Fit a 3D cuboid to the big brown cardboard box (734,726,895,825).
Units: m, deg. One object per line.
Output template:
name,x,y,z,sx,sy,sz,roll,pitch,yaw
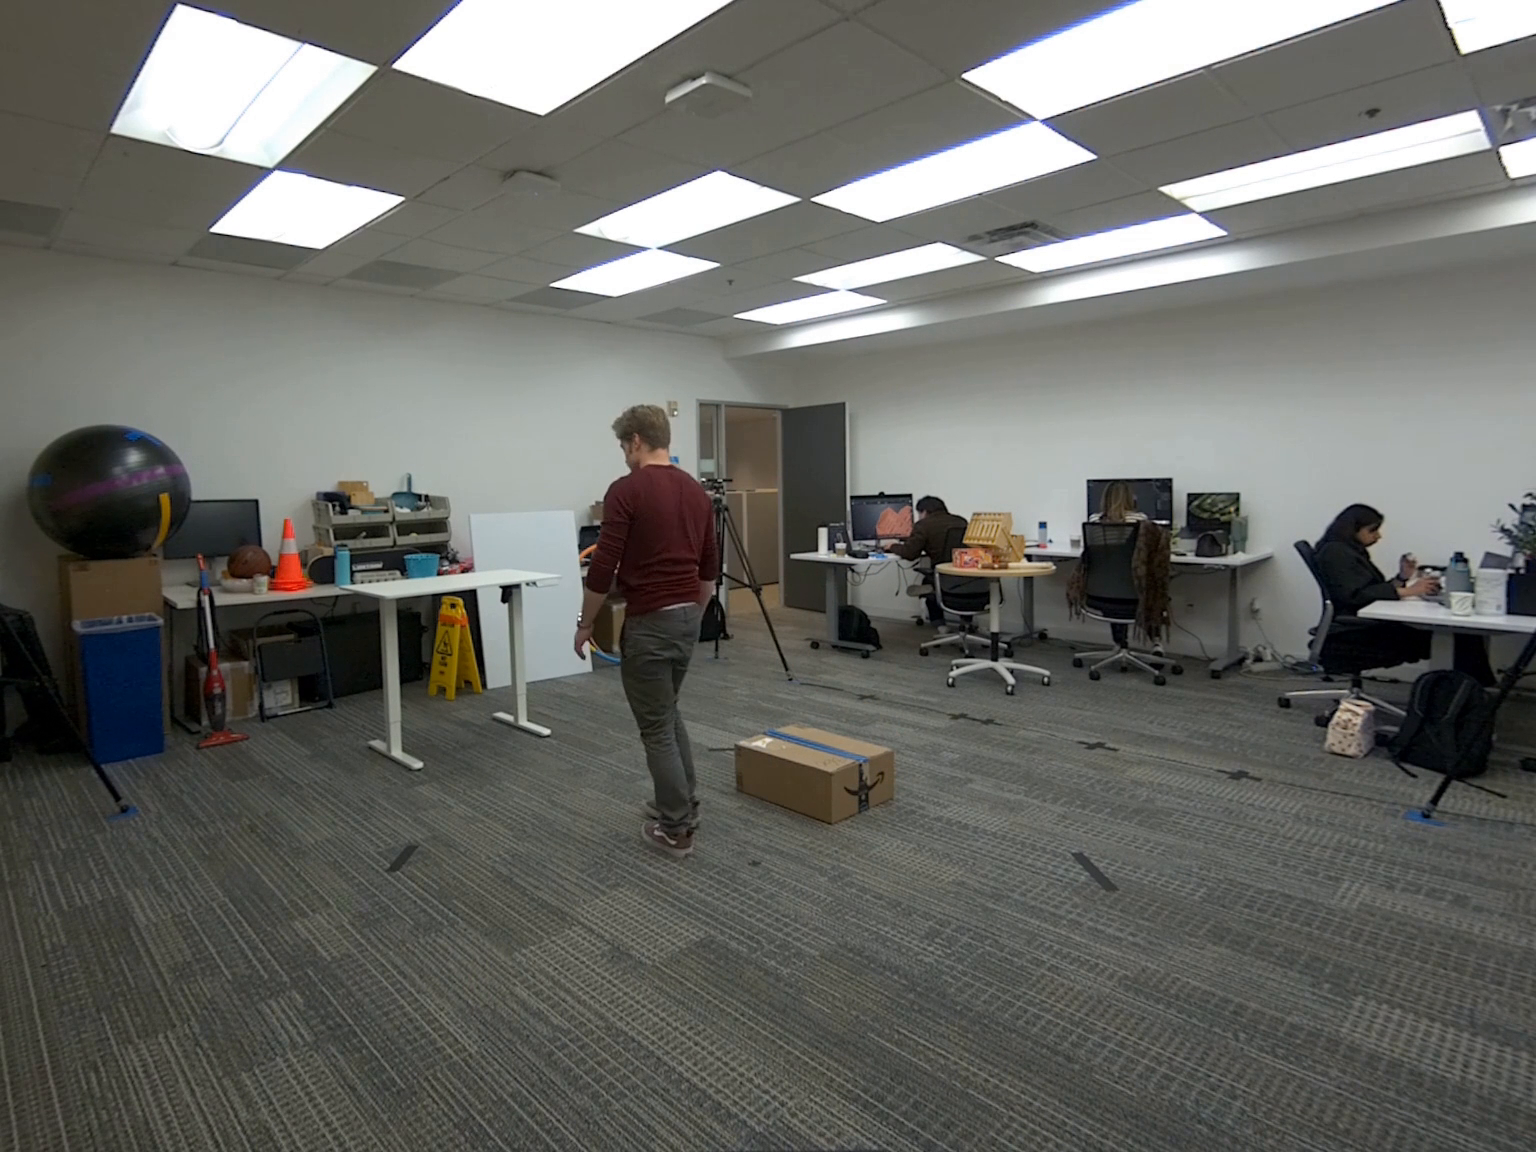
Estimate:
big brown cardboard box,0.198,0.856,3.778,0.406,0.232,0.607,-6,9,-44
